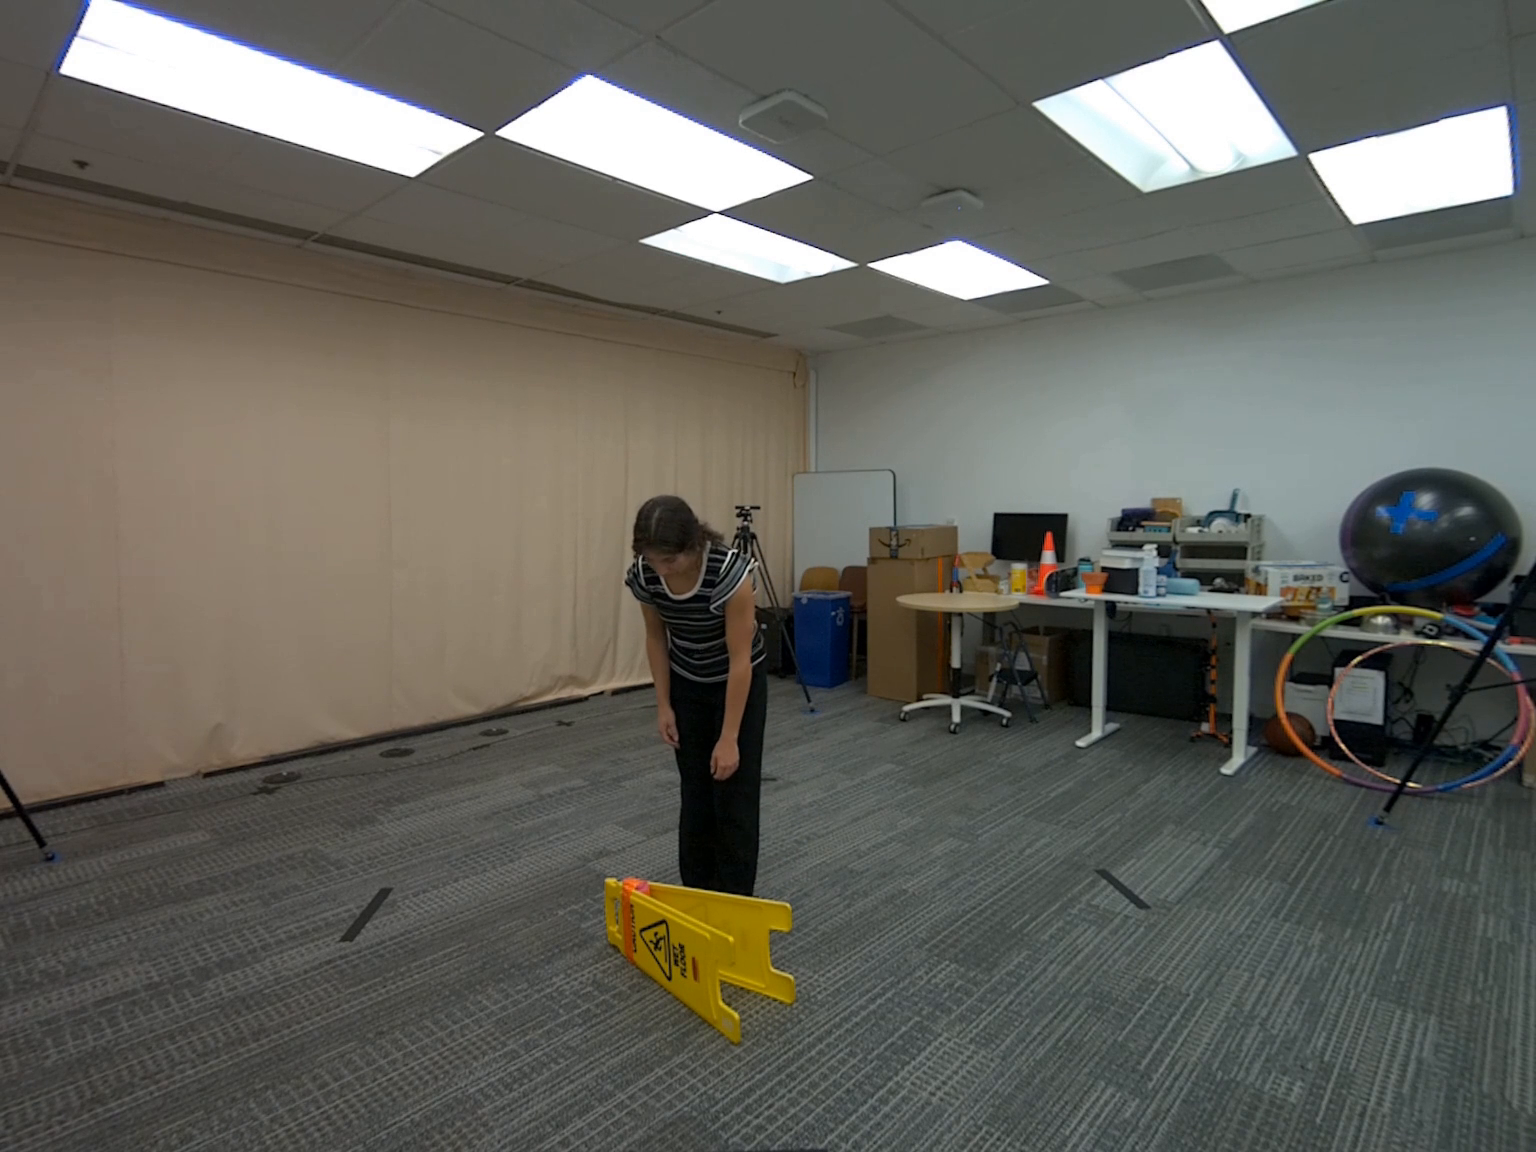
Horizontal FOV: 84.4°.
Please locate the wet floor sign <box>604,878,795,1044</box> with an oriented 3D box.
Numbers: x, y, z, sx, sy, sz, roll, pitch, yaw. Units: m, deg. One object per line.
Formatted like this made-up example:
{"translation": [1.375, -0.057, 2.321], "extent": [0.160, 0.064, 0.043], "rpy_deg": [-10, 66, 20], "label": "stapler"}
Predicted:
{"translation": [-0.261, 1.065, 2.469], "extent": [0.666, 0.282, 0.281], "rpy_deg": [0, 4, 39], "label": "wet floor sign"}
